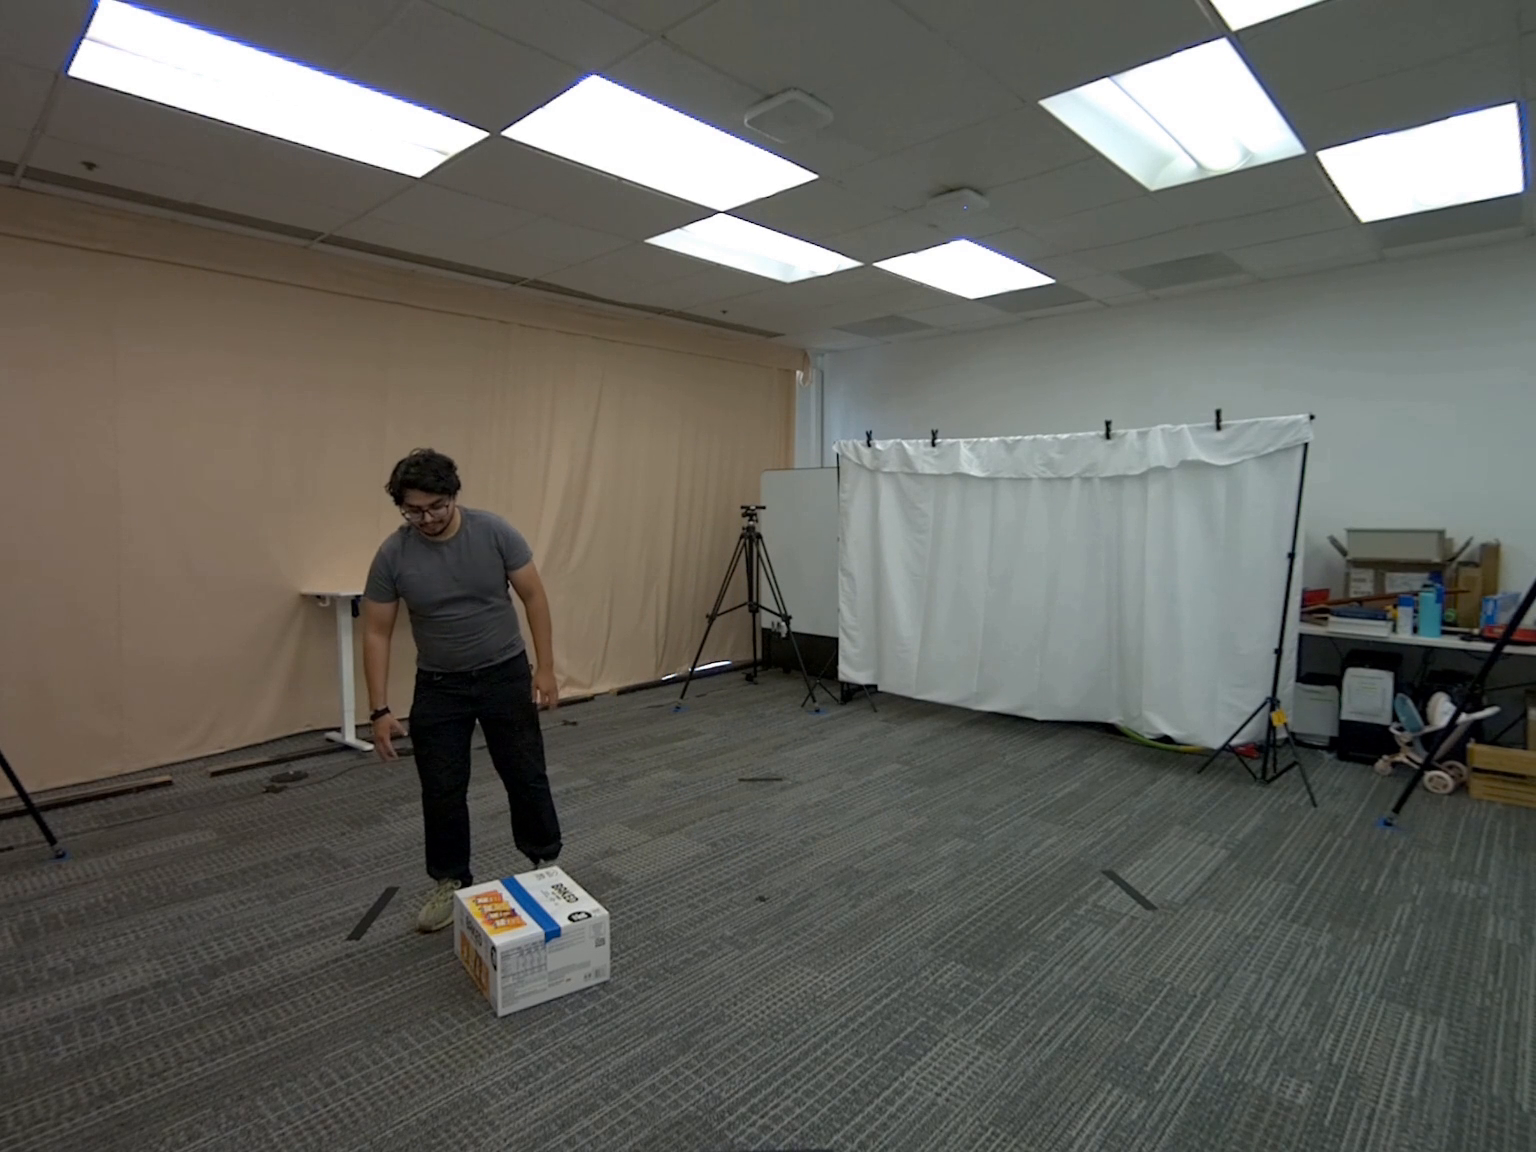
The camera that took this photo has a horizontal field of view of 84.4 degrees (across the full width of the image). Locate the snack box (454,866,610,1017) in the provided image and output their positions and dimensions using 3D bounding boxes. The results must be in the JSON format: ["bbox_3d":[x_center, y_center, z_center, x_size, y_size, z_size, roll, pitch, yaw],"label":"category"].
[{"bbox_3d":[-0.718,1.086,2.535,0.330,0.205,0.418,-3,5,-35],"label":"snack box"}]
